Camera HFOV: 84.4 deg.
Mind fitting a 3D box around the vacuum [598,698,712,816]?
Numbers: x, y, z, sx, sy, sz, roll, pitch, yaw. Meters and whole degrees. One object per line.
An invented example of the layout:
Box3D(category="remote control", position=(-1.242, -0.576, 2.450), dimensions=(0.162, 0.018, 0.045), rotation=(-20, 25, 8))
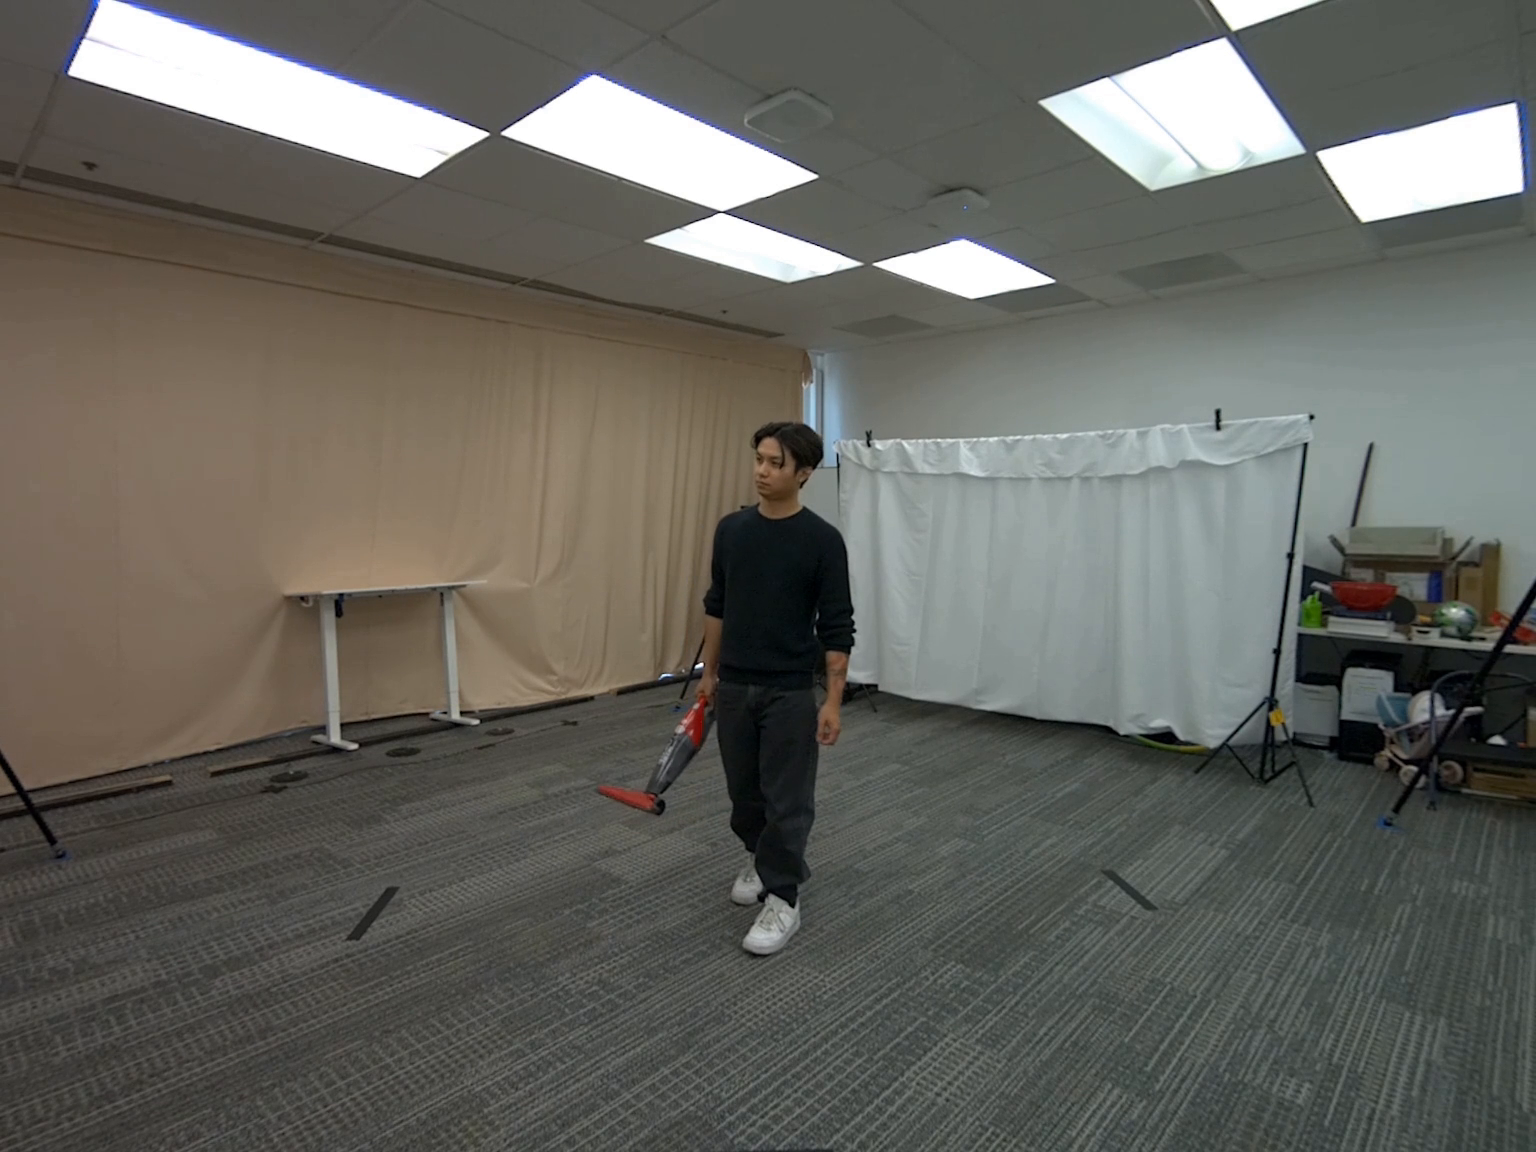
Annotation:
Box3D(category="vacuum", position=(-0.162, 0.411, 3.038), dimensions=(0.261, 0.140, 1.041), rotation=(5, 41, 39))
